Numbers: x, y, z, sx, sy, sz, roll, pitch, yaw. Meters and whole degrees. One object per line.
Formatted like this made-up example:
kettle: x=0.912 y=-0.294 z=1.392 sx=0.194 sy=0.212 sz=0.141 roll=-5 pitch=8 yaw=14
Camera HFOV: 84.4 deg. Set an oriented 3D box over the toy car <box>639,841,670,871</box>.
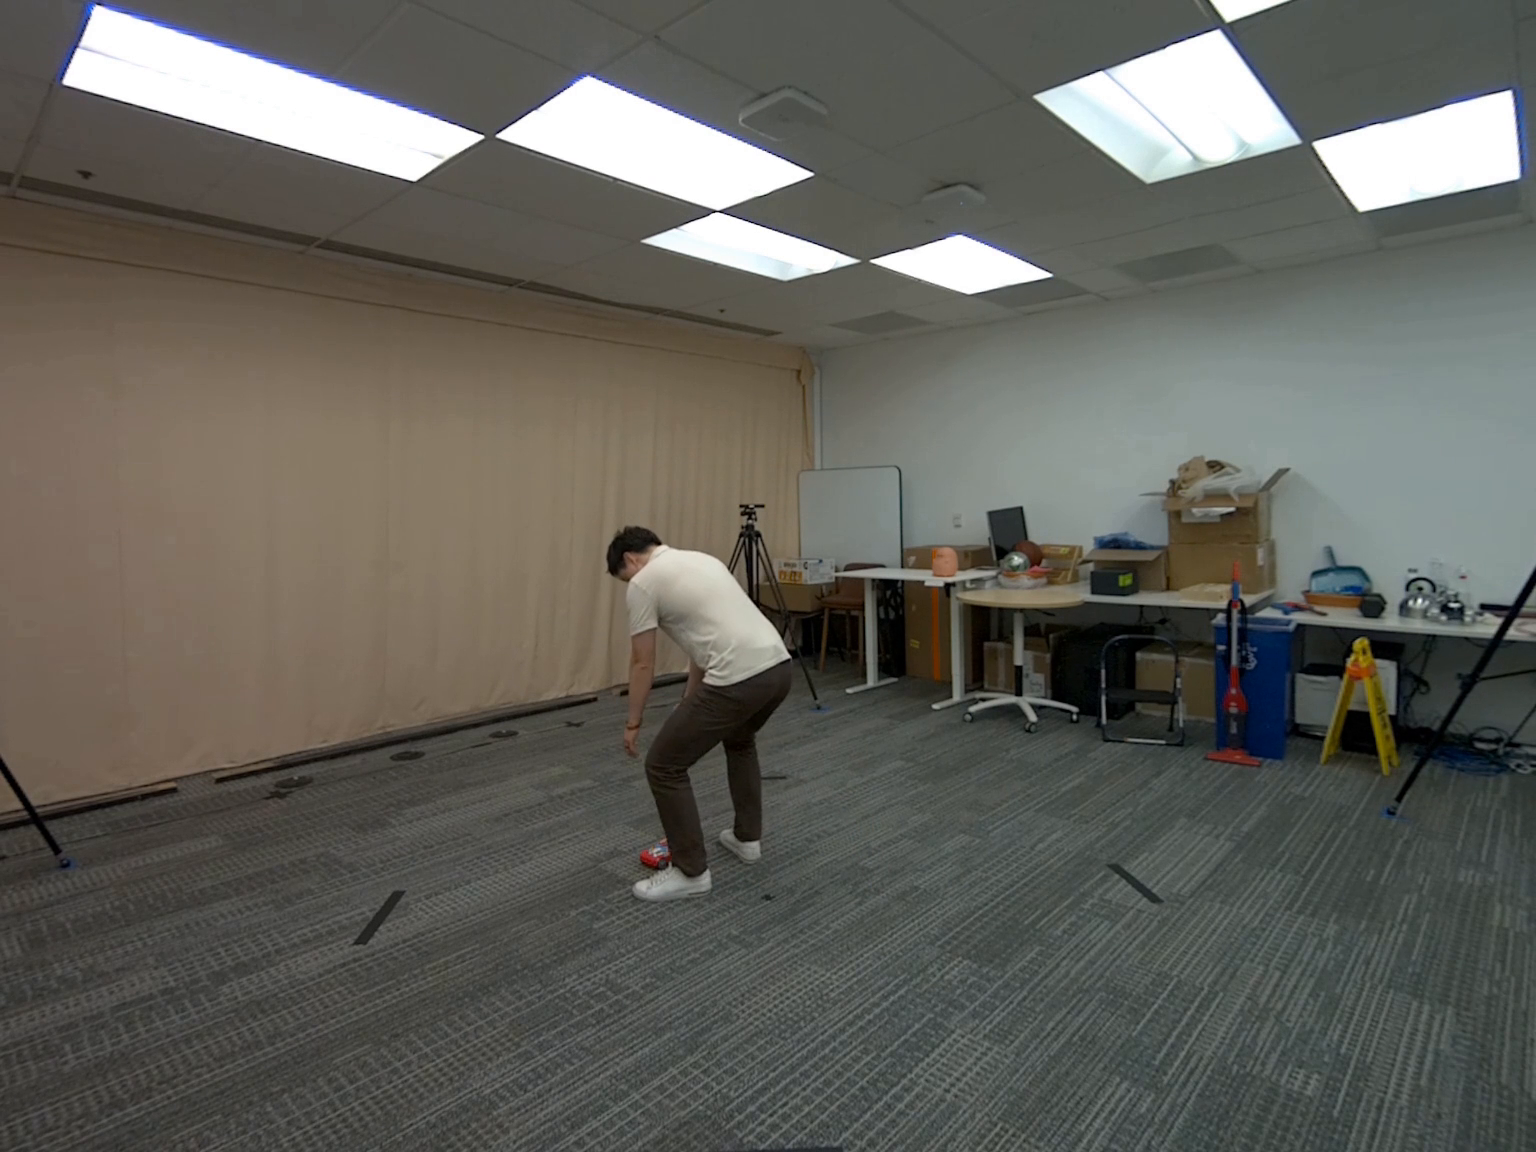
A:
toy car: x=-0.384 y=1.087 z=3.326 sx=0.134 sy=0.082 sz=0.248 roll=2 pitch=15 yaw=44
